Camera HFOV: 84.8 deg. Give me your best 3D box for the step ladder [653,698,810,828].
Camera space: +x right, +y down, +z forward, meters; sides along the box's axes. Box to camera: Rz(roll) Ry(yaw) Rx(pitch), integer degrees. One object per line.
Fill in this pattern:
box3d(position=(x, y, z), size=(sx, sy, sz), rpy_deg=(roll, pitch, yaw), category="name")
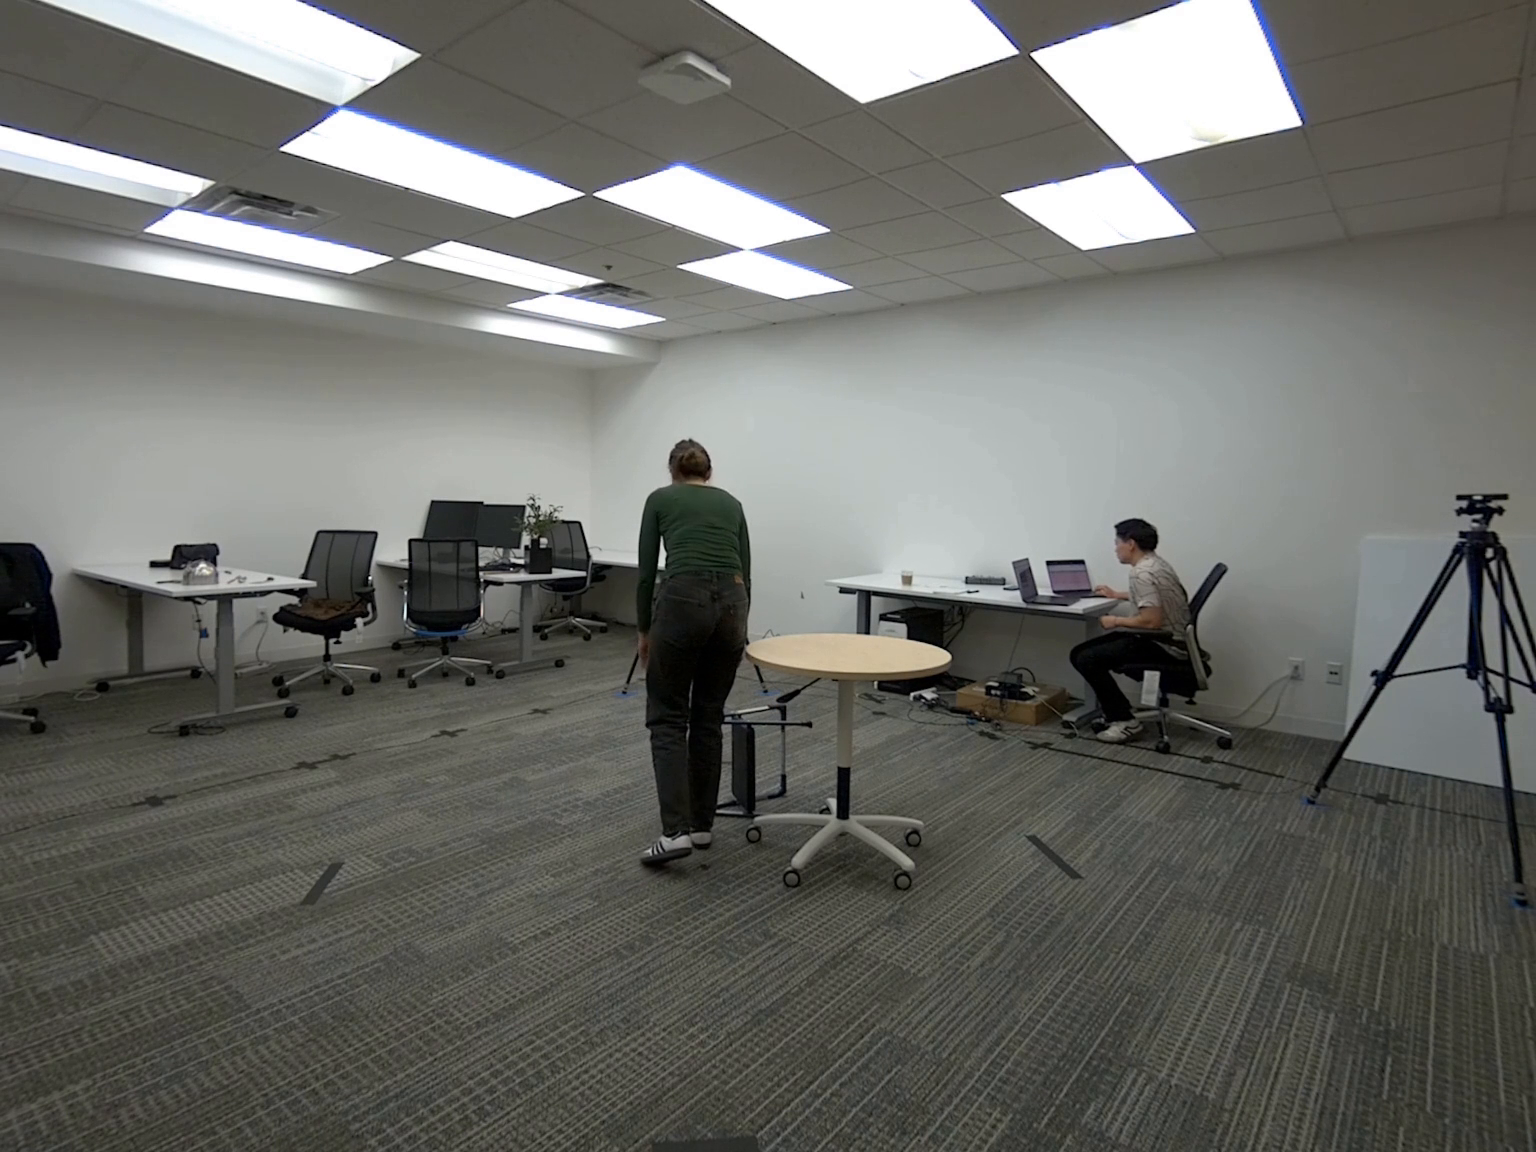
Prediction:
box3d(position=(-0.170, 0.796, 3.632), size=(0.597, 0.430, 0.355), rpy_deg=(-1, 3, -15), category="step ladder")
